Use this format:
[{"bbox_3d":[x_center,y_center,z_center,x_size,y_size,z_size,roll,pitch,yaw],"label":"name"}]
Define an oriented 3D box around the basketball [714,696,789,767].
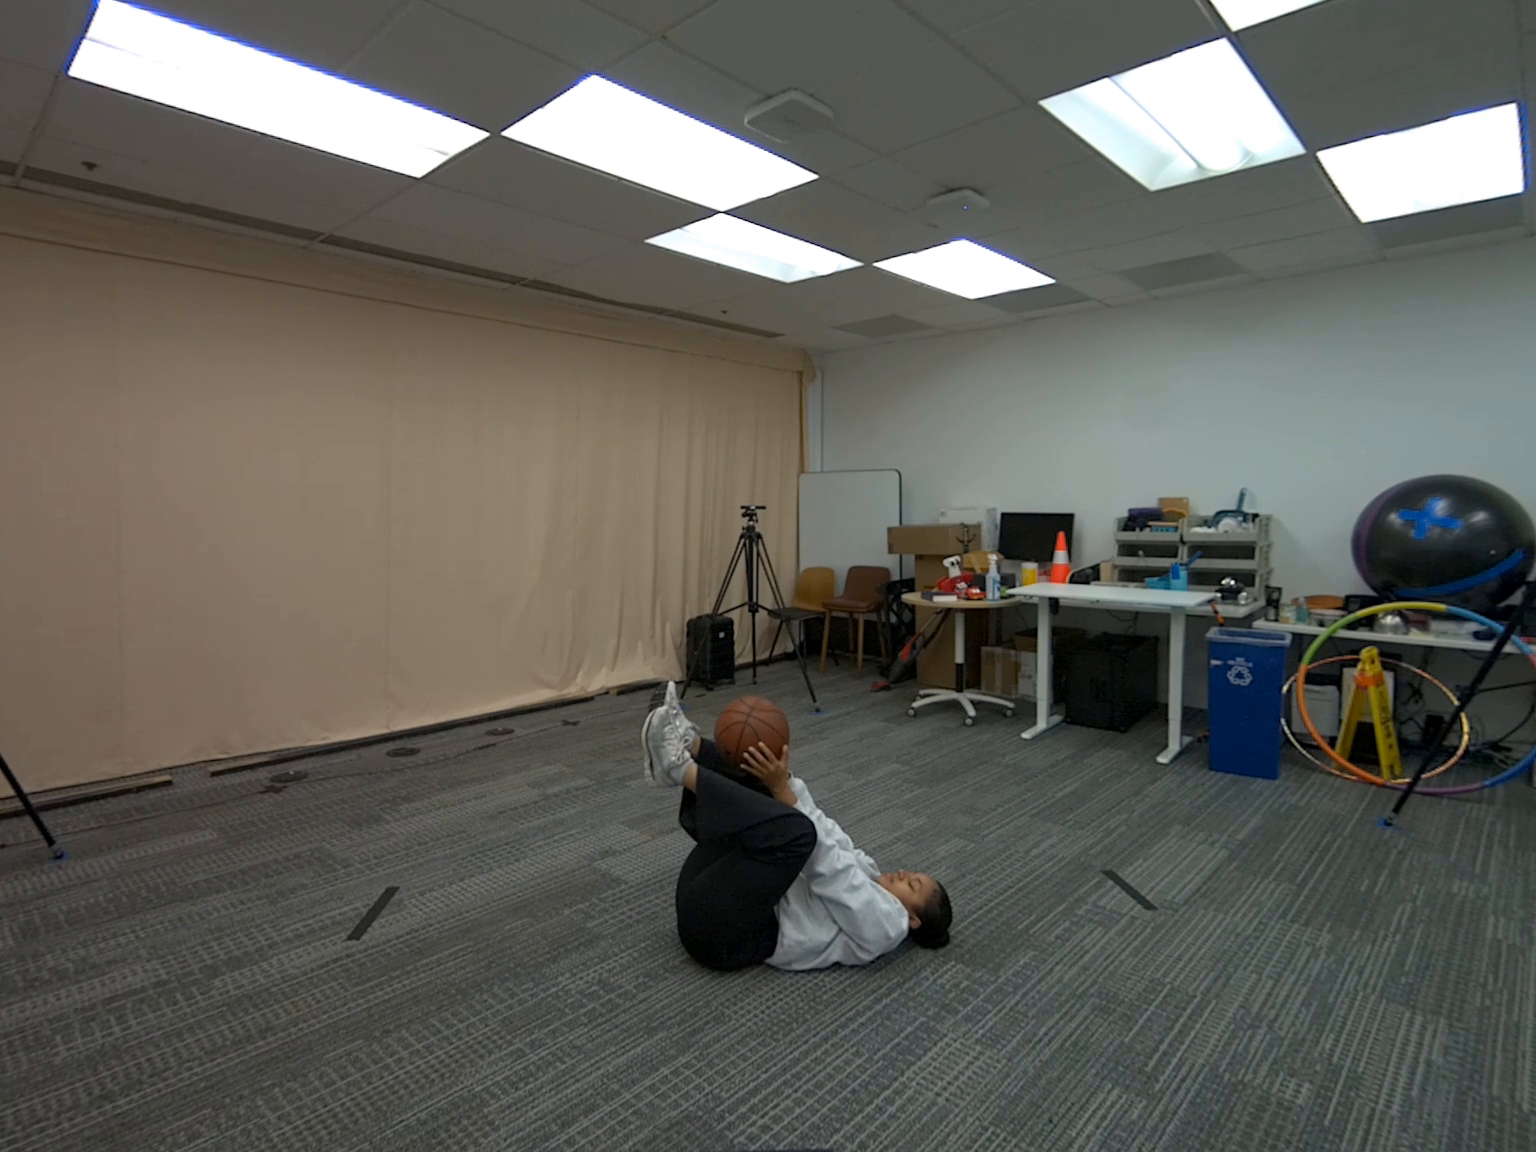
[{"bbox_3d":[-0.049,0.496,2.645,0.236,0.235,0.237,0,4,-2],"label":"basketball"}]
